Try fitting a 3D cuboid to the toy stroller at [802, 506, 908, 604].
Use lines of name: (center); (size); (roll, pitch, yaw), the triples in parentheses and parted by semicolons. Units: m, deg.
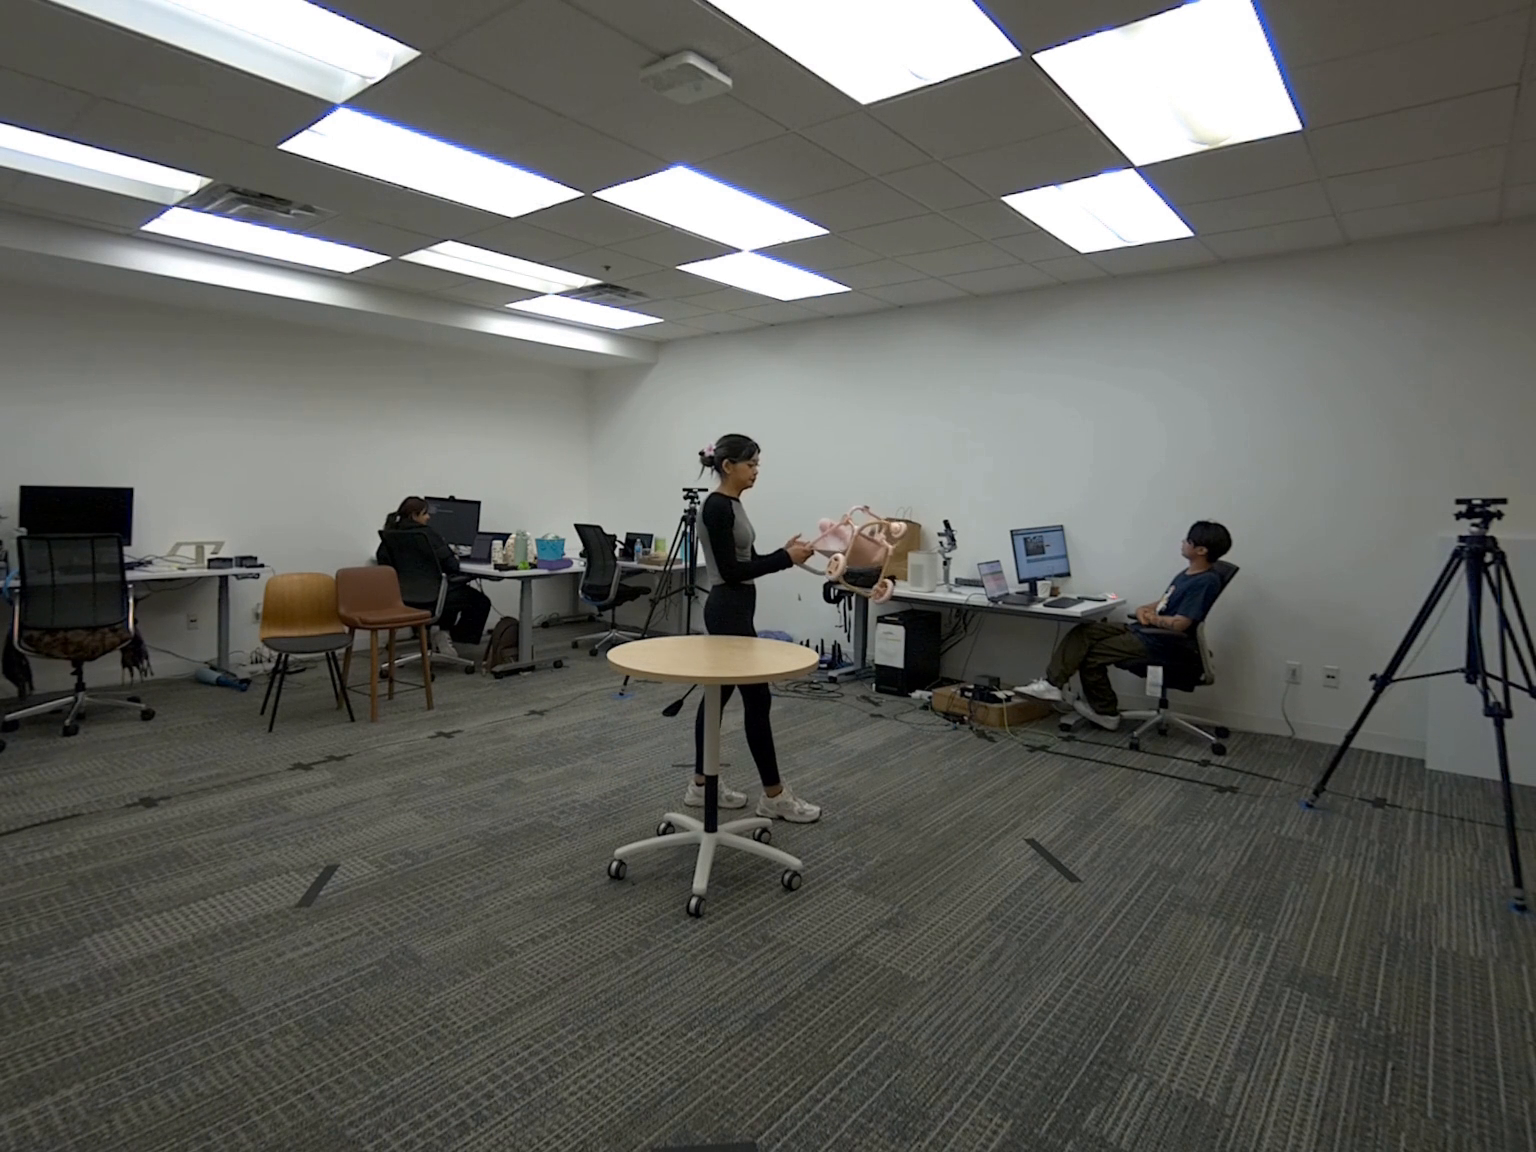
toy stroller: (0.336, -0.123, 3.447); (0.273, 0.340, 0.553); (22, 5, -27)
